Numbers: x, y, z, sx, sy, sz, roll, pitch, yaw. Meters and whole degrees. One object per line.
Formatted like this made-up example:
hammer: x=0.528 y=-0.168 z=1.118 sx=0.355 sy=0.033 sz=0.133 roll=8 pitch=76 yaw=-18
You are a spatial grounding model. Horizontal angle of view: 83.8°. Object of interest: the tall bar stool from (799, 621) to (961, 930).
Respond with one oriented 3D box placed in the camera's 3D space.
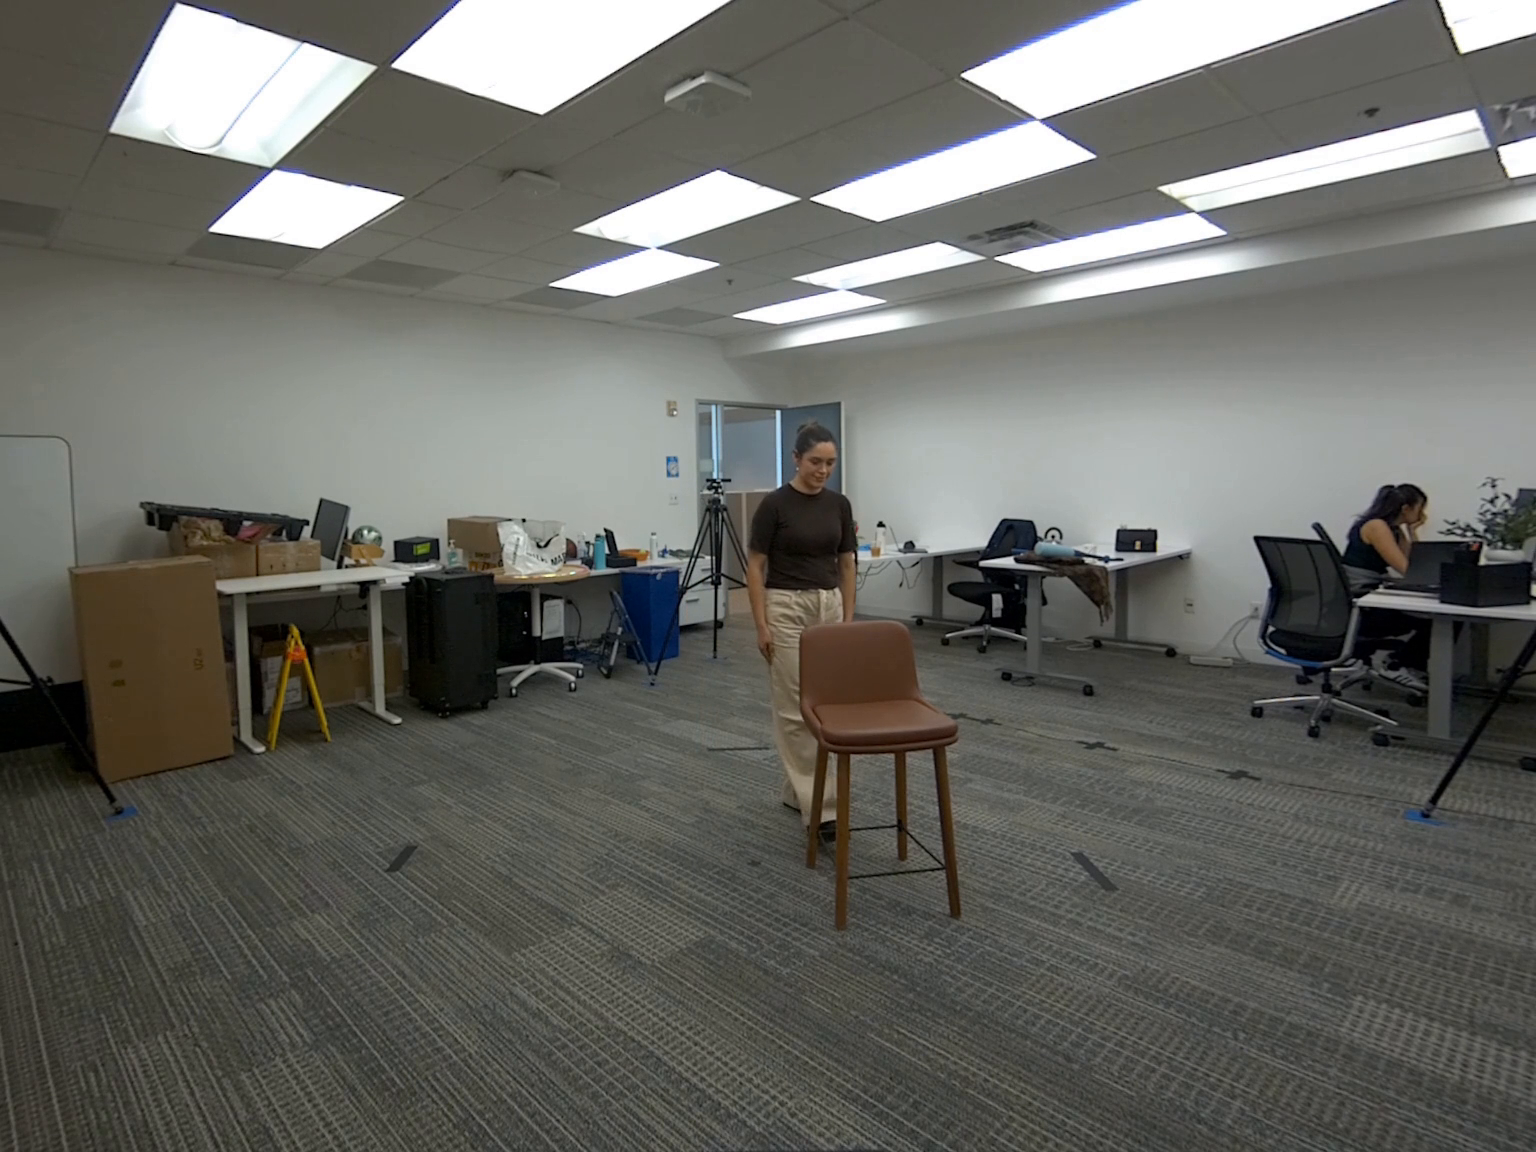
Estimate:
tall bar stool: x=0.361 y=0.629 z=2.868 sx=0.452 sy=0.888 sz=0.473 roll=-1 pitch=2 yaw=-11
